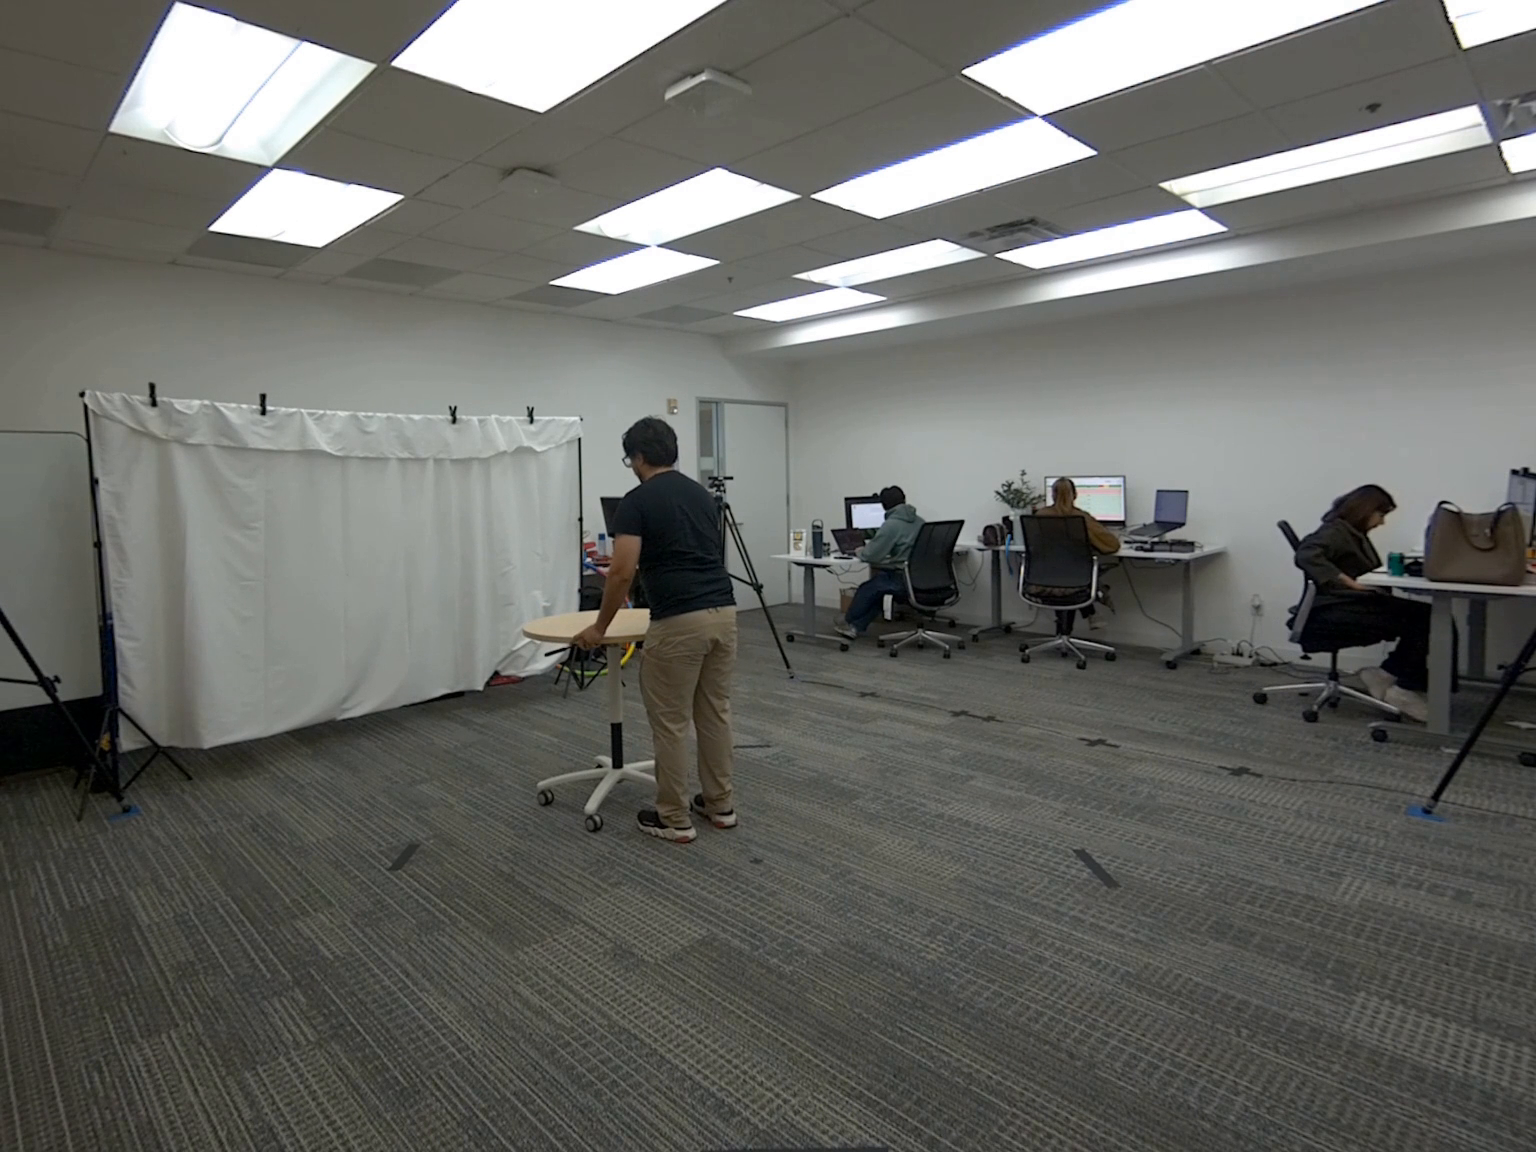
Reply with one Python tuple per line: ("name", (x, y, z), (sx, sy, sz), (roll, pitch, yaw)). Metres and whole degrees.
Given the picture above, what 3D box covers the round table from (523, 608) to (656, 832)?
("round table", (-0.667, 0.582, 3.712), (0.784, 0.784, 0.789), (-2, 5, -2))
